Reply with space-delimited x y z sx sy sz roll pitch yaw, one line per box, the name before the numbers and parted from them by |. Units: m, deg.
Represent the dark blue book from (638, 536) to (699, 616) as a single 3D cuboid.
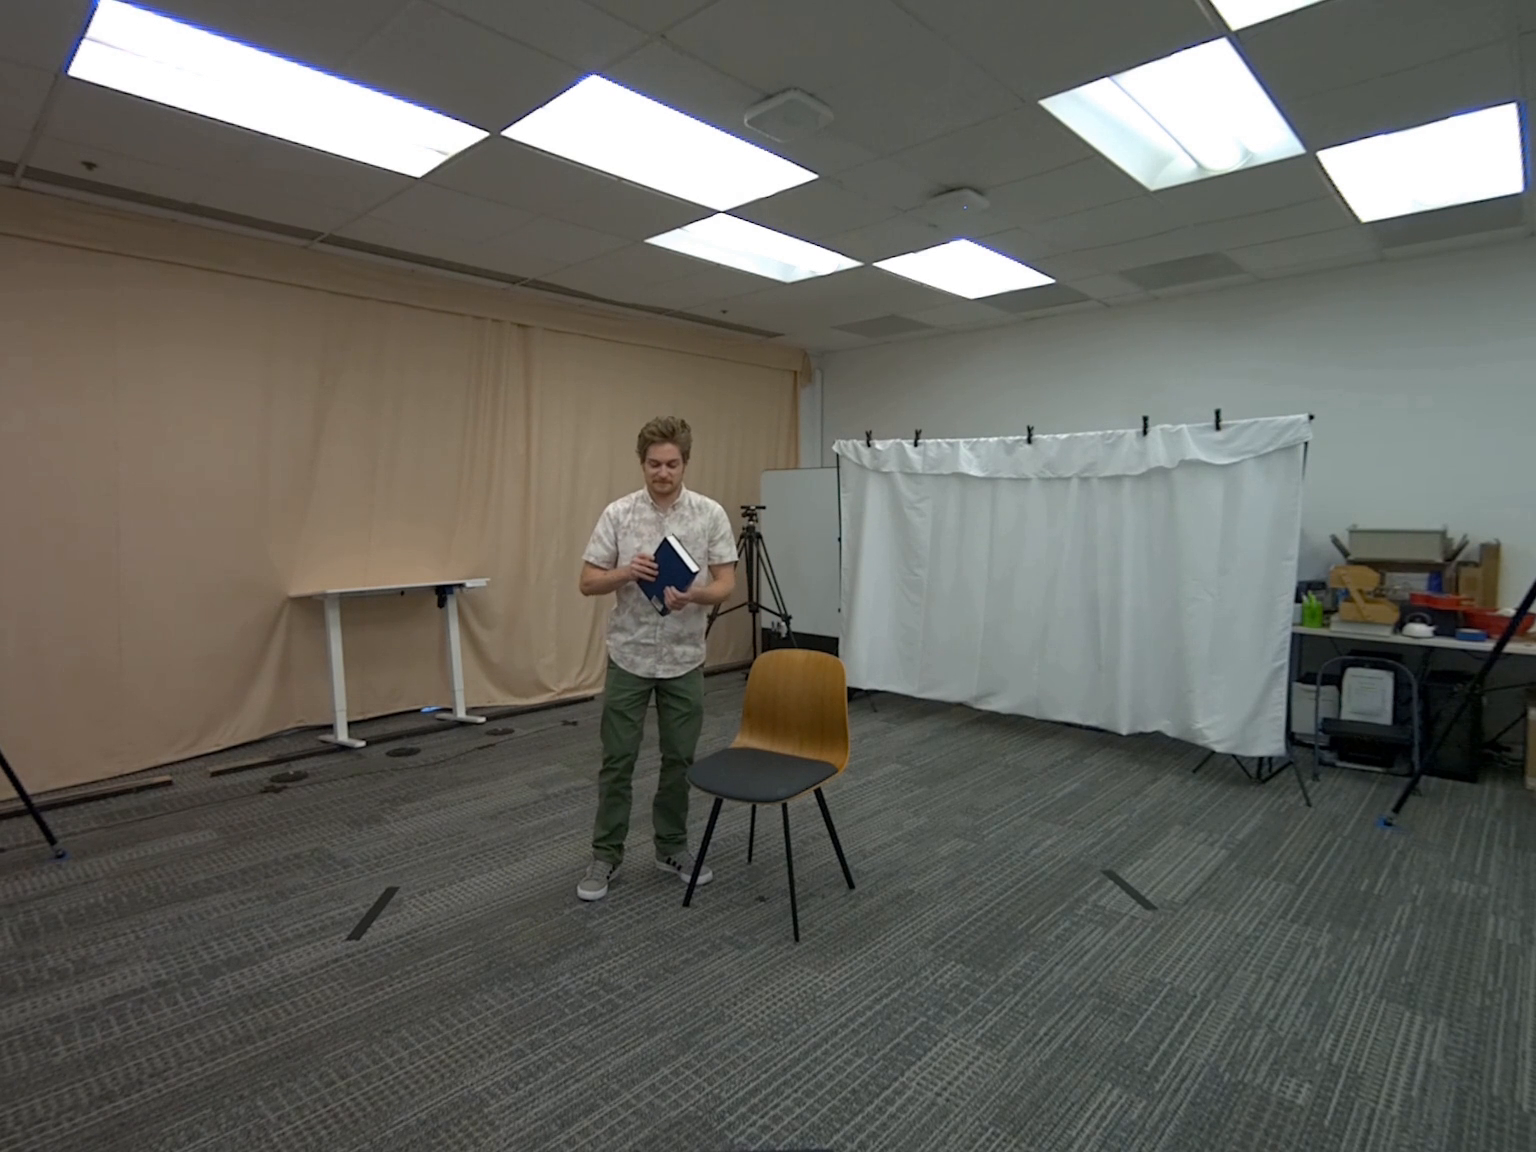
dark blue book | -0.339 -0.003 2.832 0.044 0.167 0.246 -17 -28 -47
